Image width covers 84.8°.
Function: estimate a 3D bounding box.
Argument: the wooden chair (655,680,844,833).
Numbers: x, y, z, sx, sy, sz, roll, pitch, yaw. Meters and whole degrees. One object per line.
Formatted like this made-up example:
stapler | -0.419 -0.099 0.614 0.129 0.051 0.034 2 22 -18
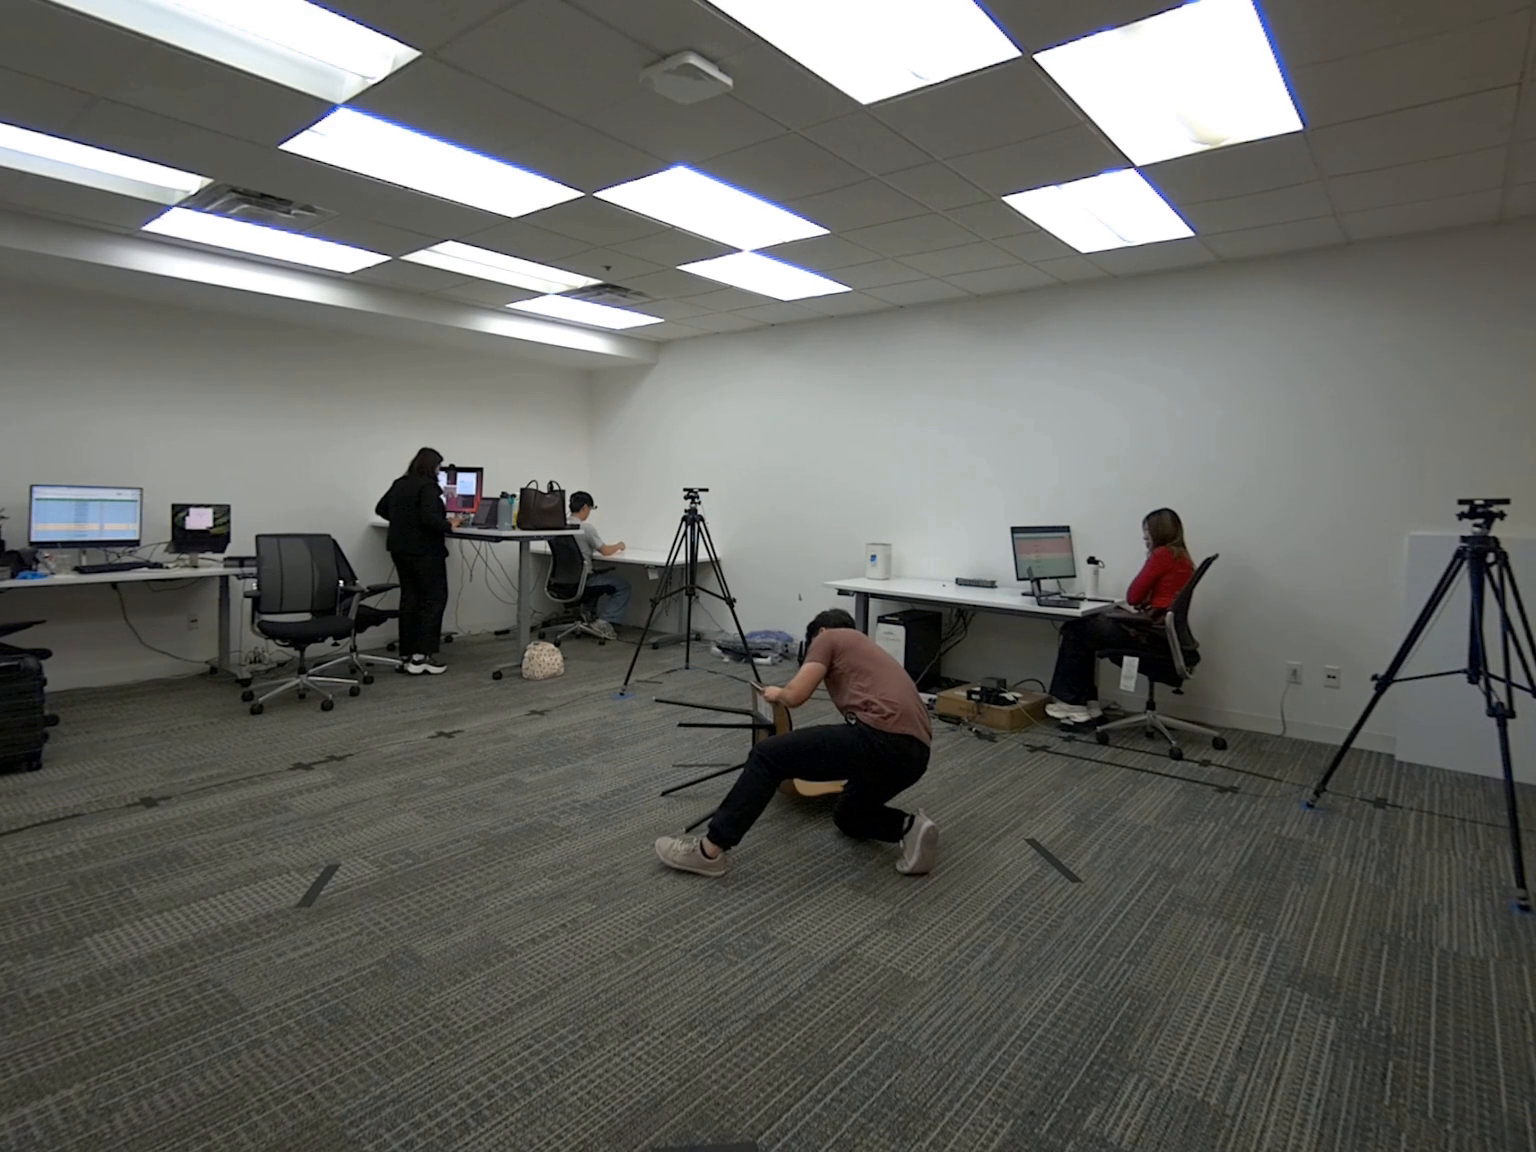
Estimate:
wooden chair | -0.032 0.741 3.746 0.862 0.522 0.488 -1 4 -18
